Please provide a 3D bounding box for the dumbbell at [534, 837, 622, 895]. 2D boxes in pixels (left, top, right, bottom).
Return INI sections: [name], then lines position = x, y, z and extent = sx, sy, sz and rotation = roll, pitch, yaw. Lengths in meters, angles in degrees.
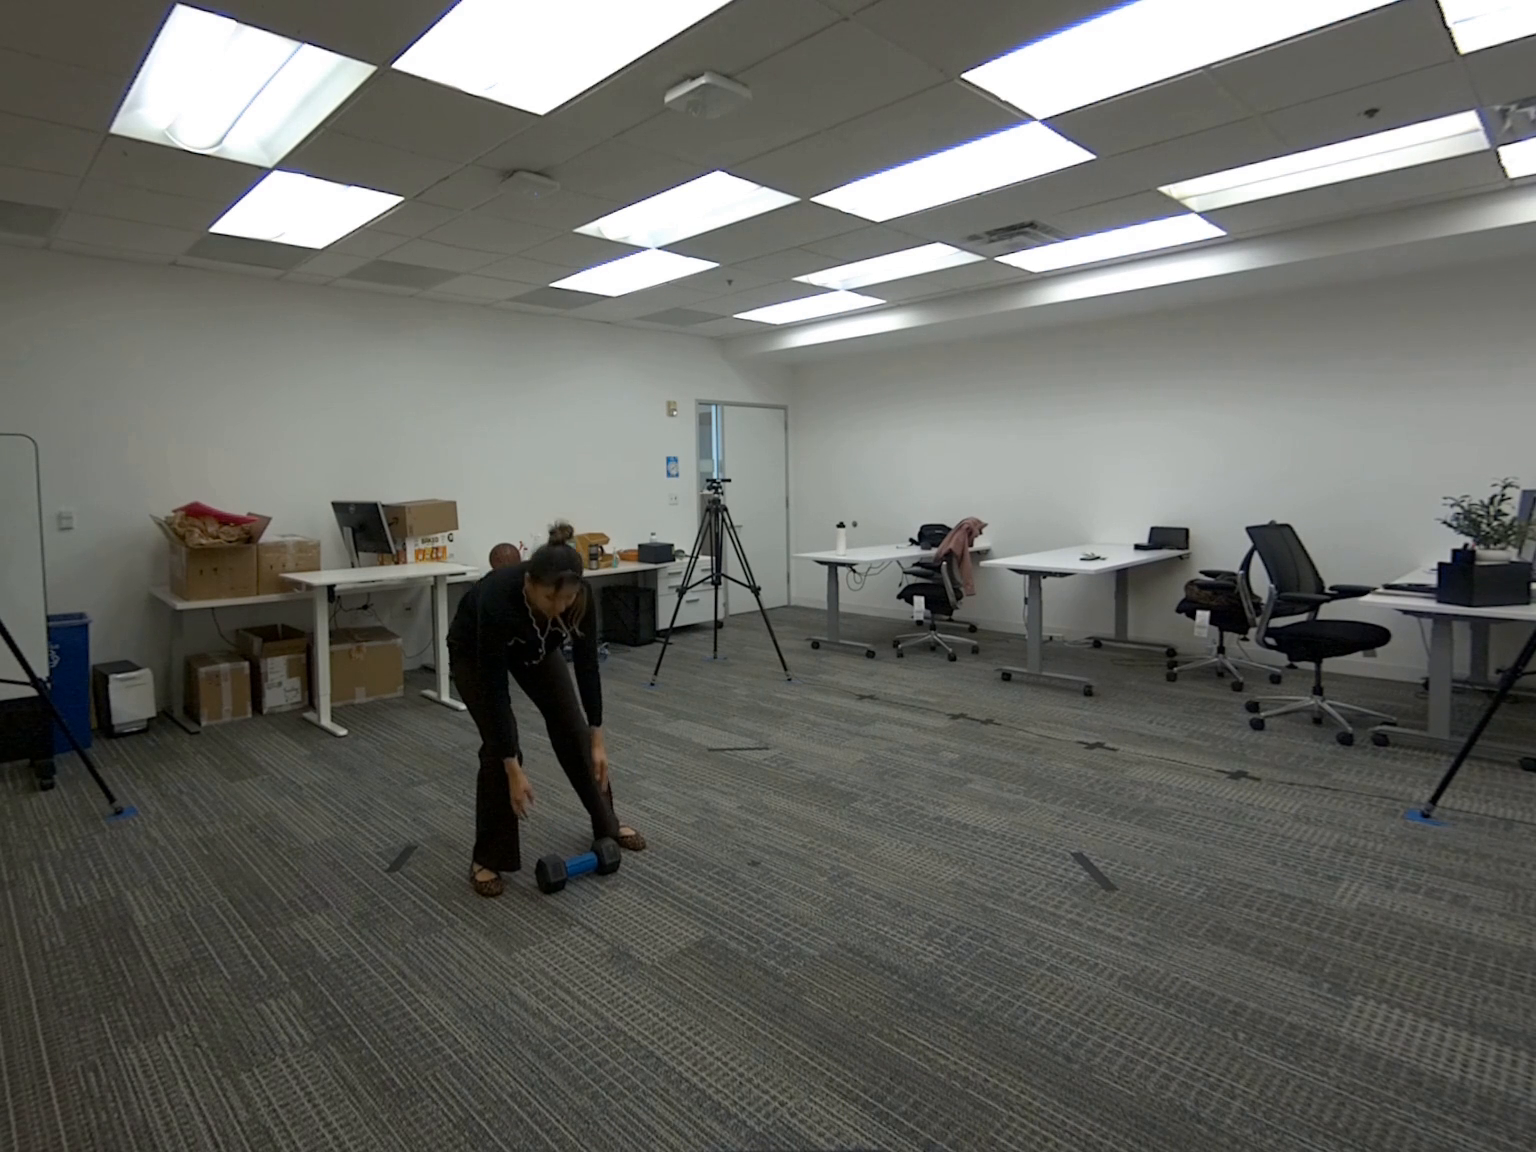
[dumbbell]
position = -0.668, 1.016, 2.999
extent = 0.286, 0.126, 0.109
rotation = -7, -23, -37
